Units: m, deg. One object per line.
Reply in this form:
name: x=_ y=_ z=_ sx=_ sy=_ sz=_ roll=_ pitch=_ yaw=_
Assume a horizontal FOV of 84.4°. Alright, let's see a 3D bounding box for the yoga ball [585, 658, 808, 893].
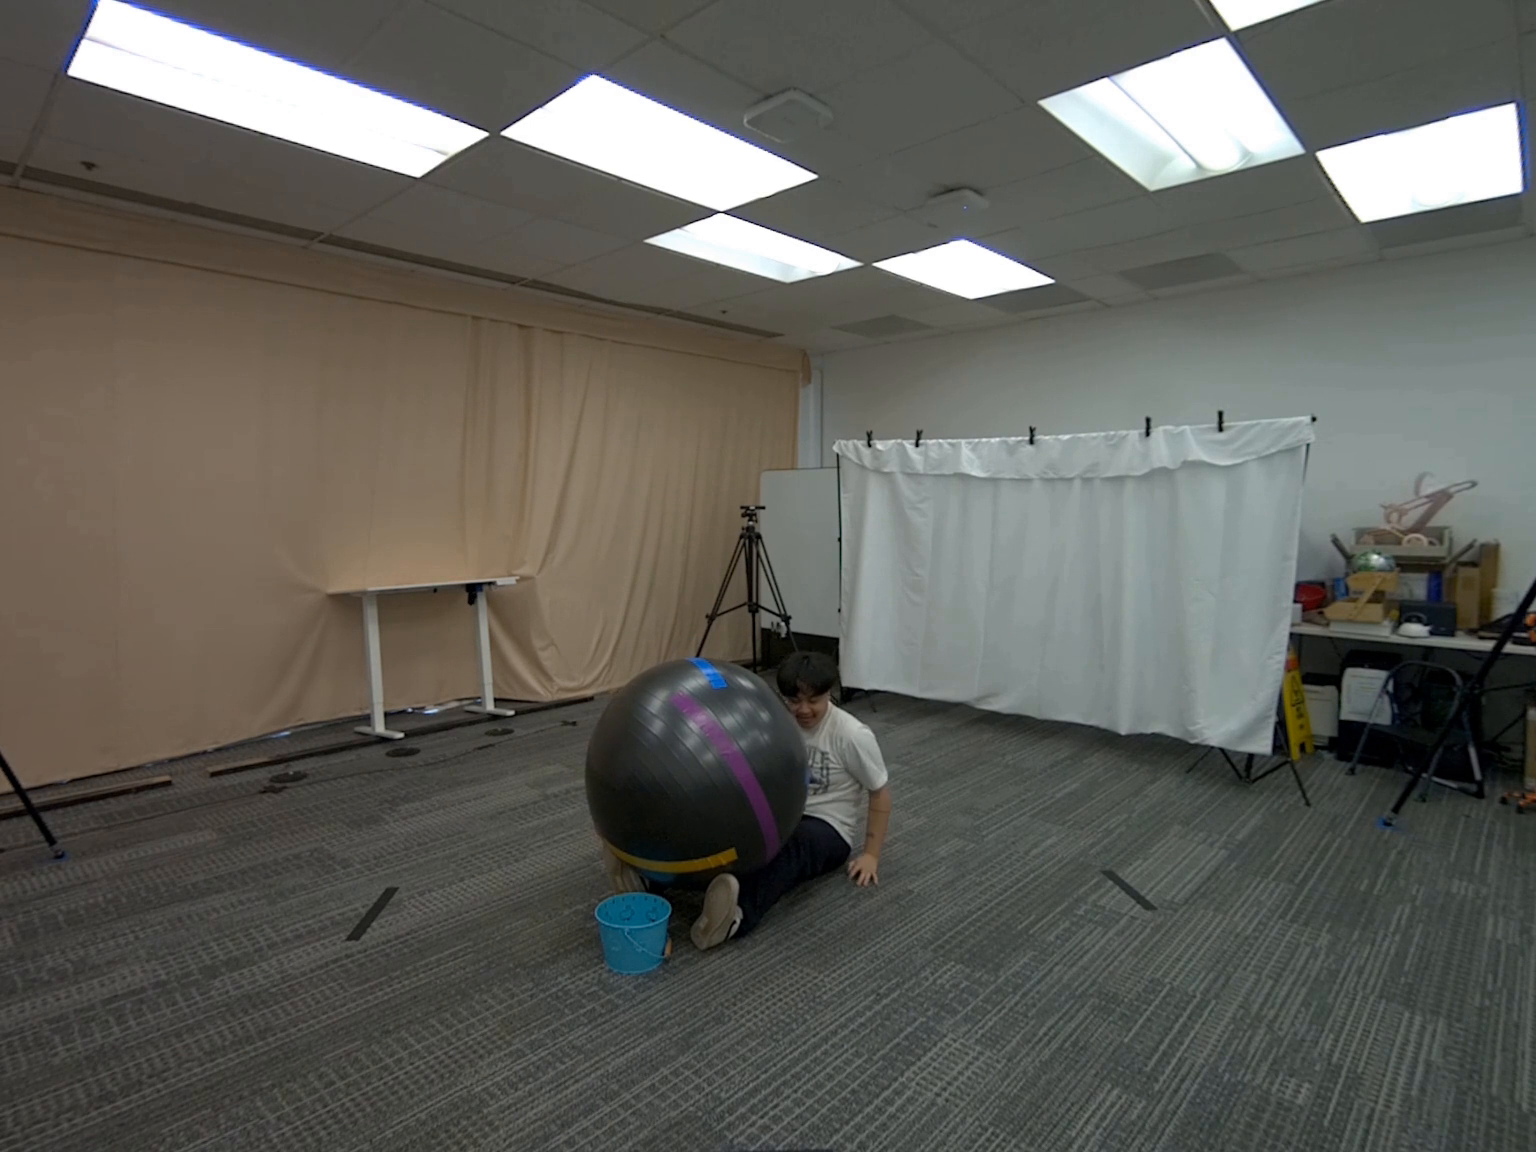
yoga ball: x=-0.239 y=0.660 z=2.859 sx=0.757 sy=0.756 sz=0.760 roll=0 pitch=4 yaw=-2
